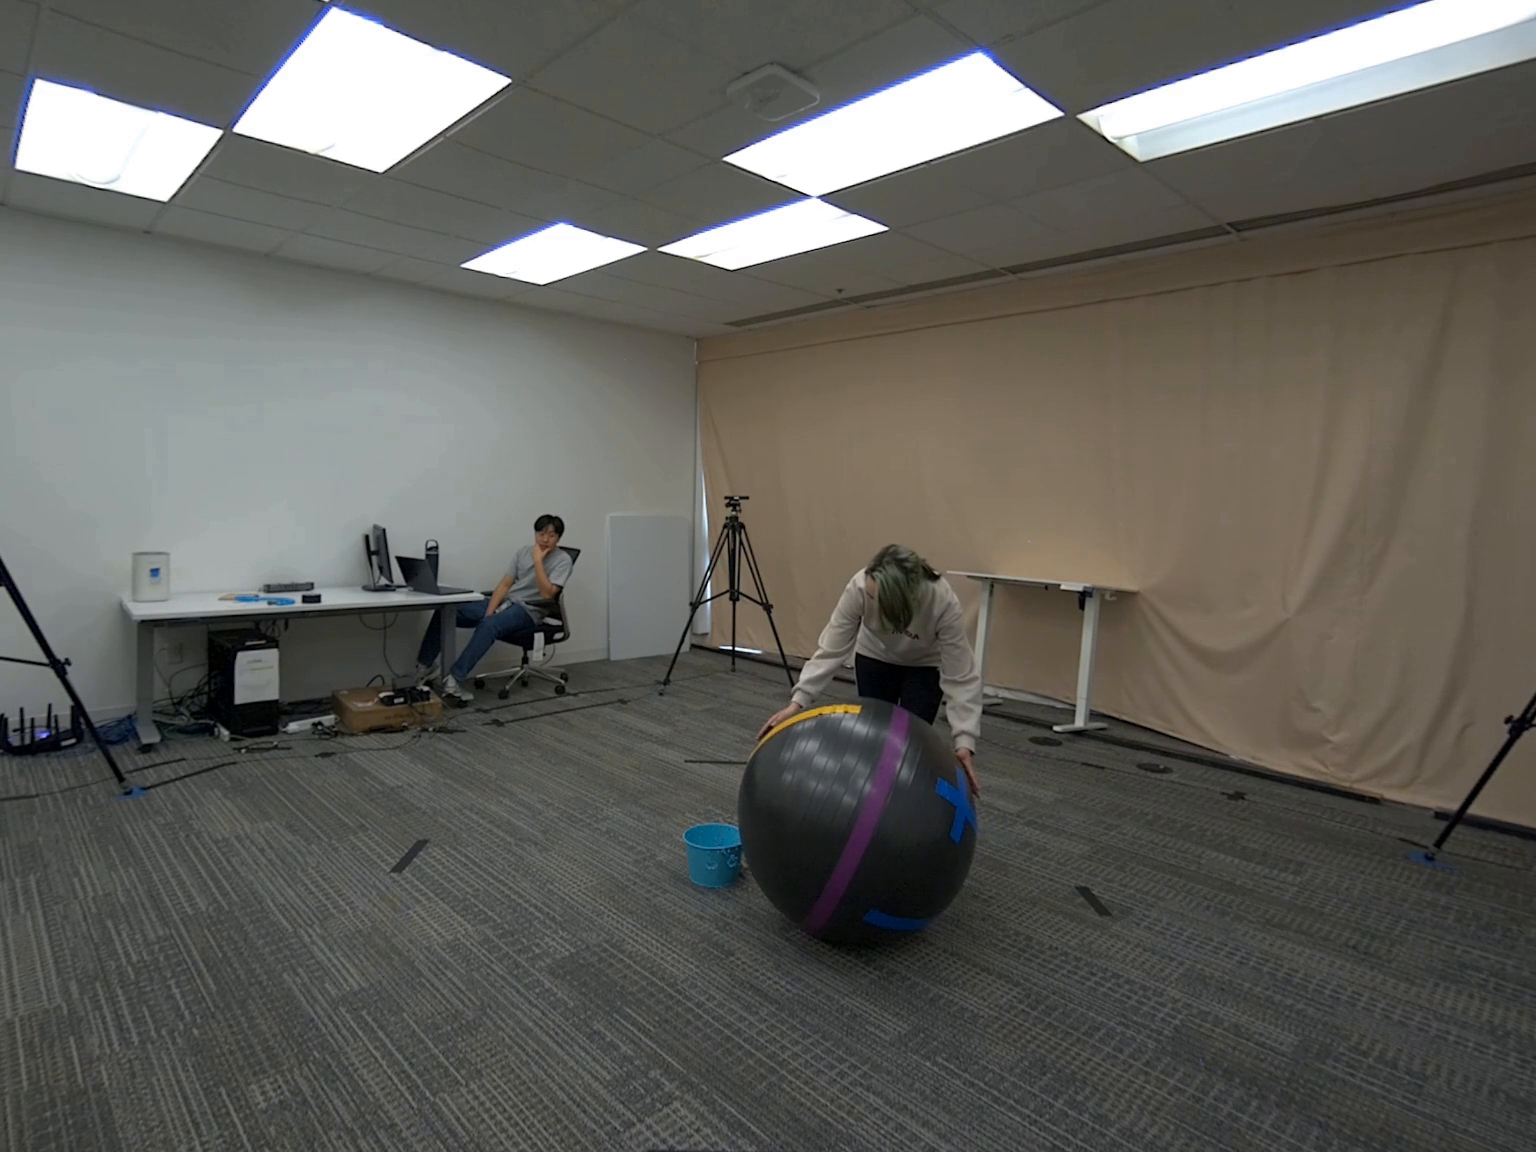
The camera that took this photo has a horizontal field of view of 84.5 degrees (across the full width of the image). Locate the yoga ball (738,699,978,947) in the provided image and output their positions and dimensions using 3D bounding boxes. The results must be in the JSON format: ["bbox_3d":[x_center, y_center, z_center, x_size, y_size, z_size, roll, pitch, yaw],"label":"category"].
[{"bbox_3d":[0.278,0.781,2.712,0.757,0.756,0.761,1,4,-1],"label":"yoga ball"}]
